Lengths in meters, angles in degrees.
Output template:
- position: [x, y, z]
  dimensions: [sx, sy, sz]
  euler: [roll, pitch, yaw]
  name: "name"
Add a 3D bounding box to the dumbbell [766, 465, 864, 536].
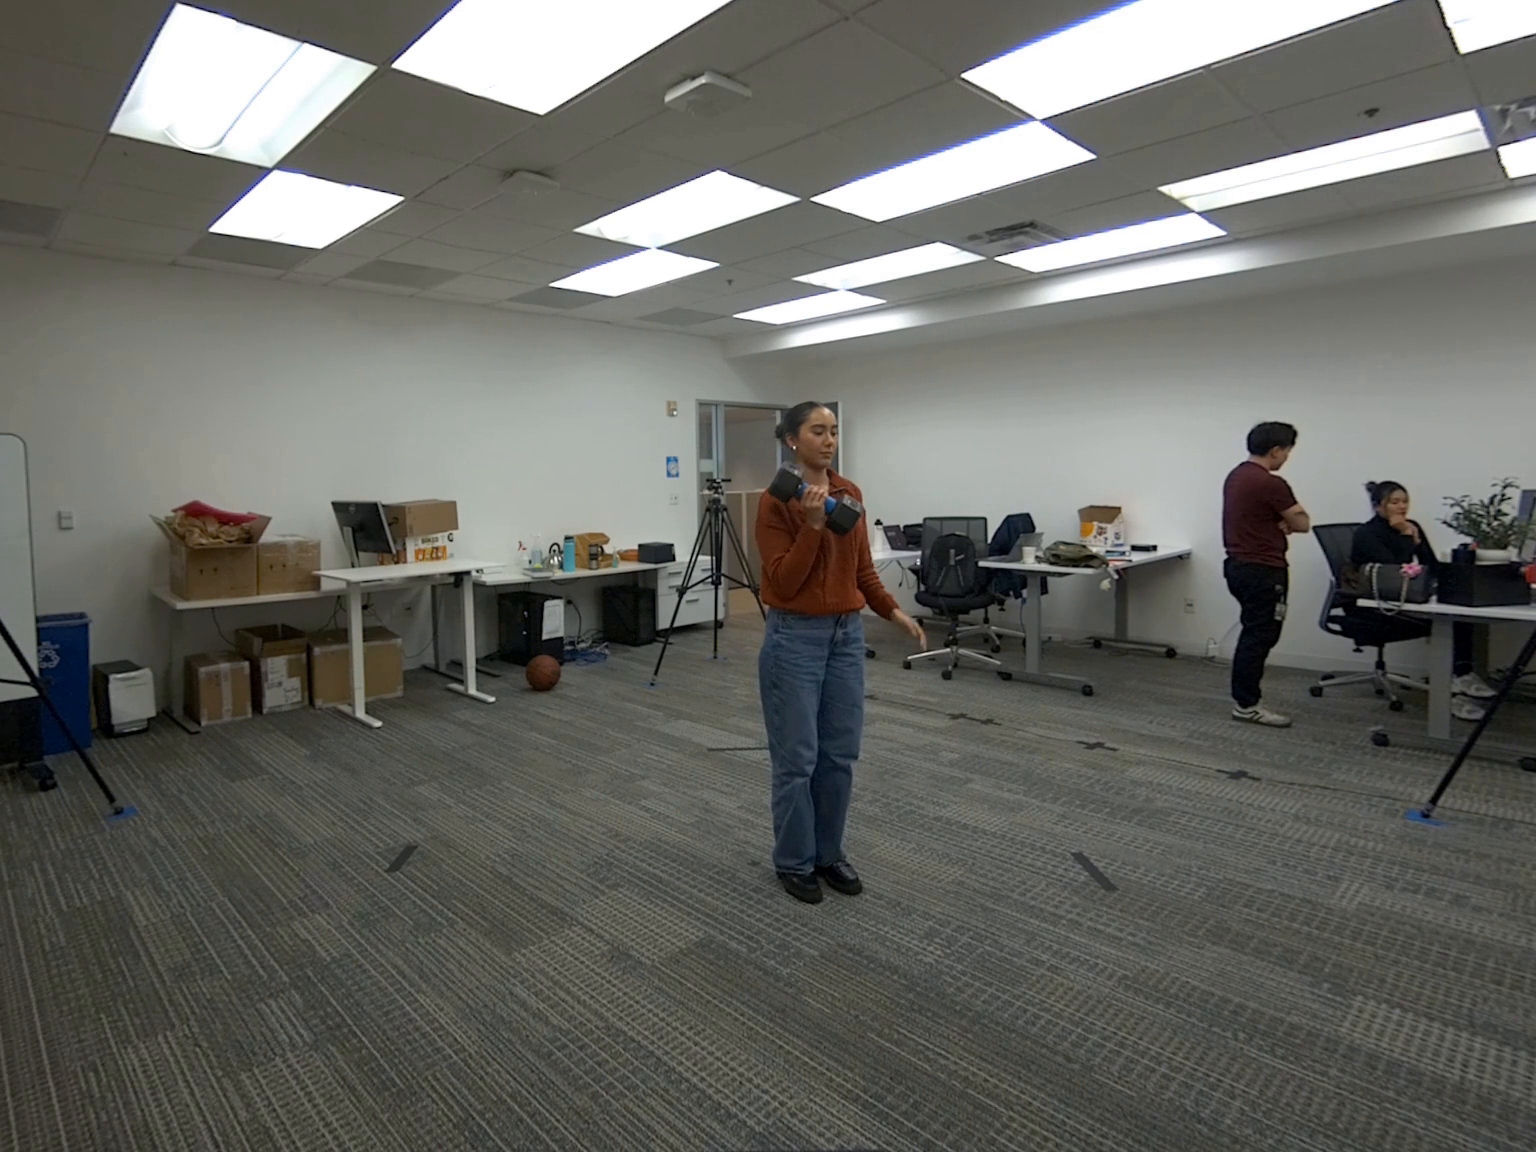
- position: [0.148, -0.241, 2.701]
  dimensions: [0.293, 0.109, 0.122]
  euler: [32, -26, -2]
  name: "dumbbell"
